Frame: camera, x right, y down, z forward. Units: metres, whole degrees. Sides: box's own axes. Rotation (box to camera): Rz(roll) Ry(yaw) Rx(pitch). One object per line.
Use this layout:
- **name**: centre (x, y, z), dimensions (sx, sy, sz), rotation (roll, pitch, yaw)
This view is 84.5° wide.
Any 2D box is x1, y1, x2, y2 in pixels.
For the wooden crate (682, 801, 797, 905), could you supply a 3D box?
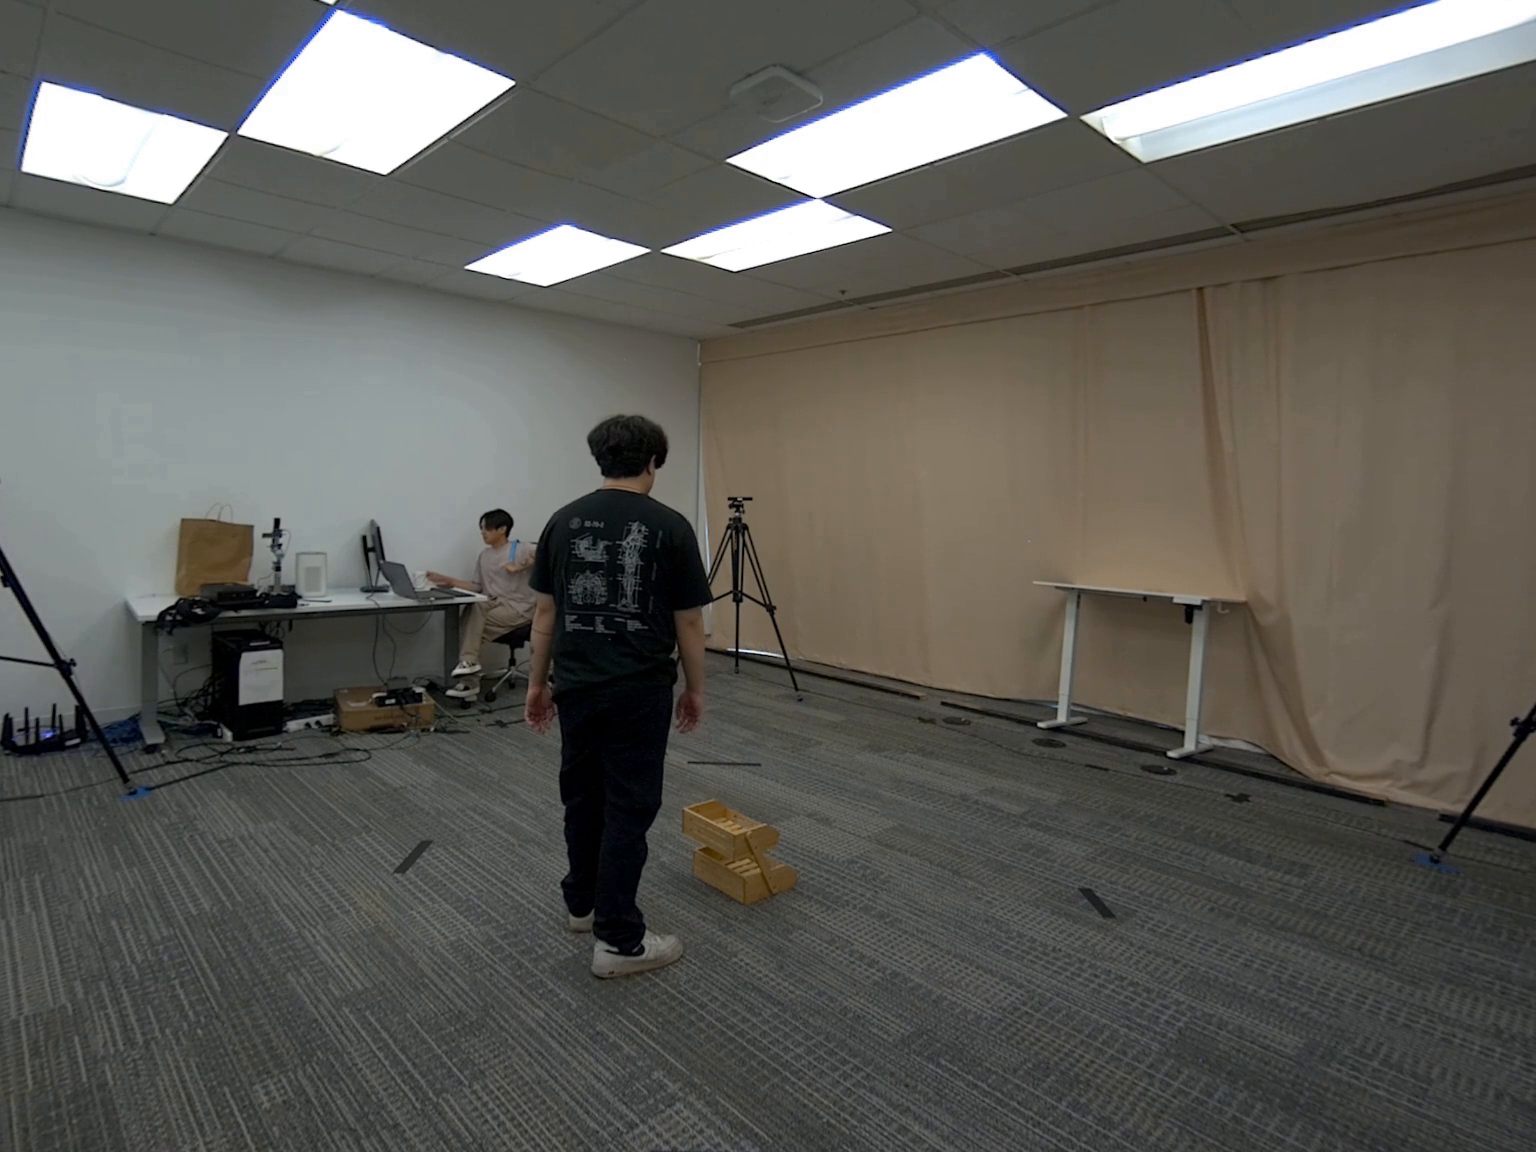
- **wooden crate**: centre (-0.108, 0.978, 3.054), dimensions (0.295, 0.272, 0.333), rotation (-3, 6, -41)
